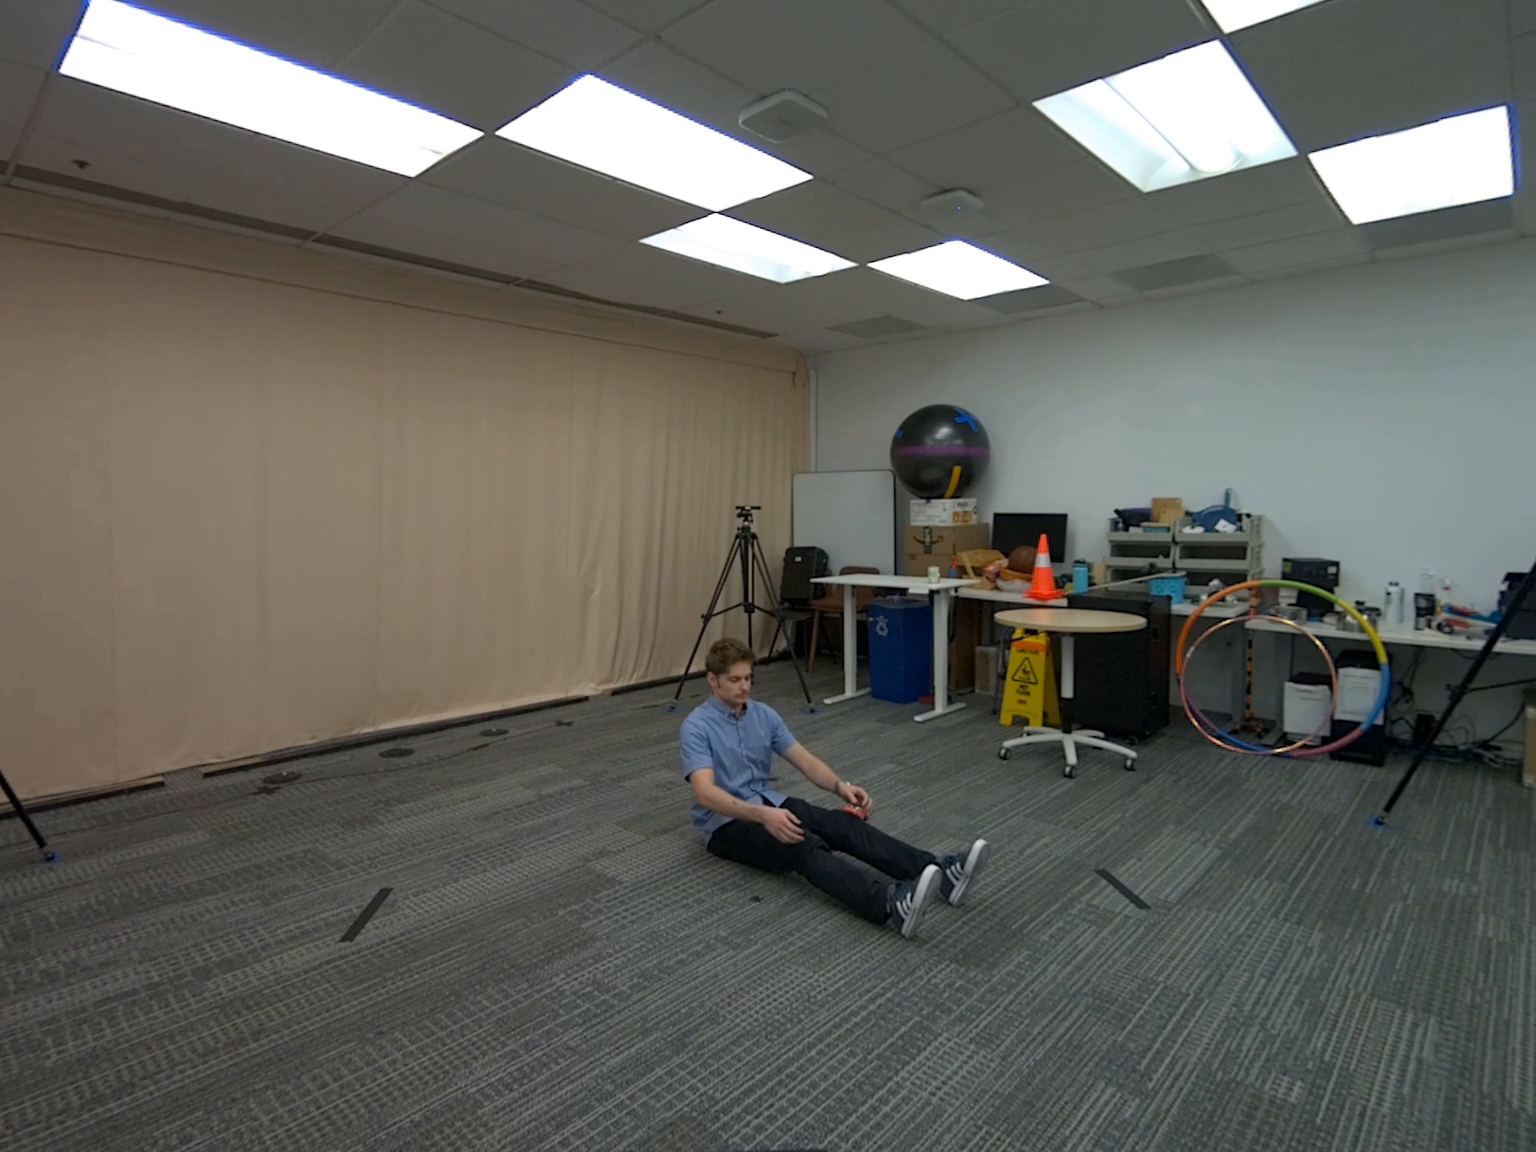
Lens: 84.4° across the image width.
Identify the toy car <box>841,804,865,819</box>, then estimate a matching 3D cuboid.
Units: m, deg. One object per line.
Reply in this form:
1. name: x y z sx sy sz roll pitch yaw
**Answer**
1. toy car: 0.360 1.059 3.667 0.133 0.083 0.248 2 -7 20
